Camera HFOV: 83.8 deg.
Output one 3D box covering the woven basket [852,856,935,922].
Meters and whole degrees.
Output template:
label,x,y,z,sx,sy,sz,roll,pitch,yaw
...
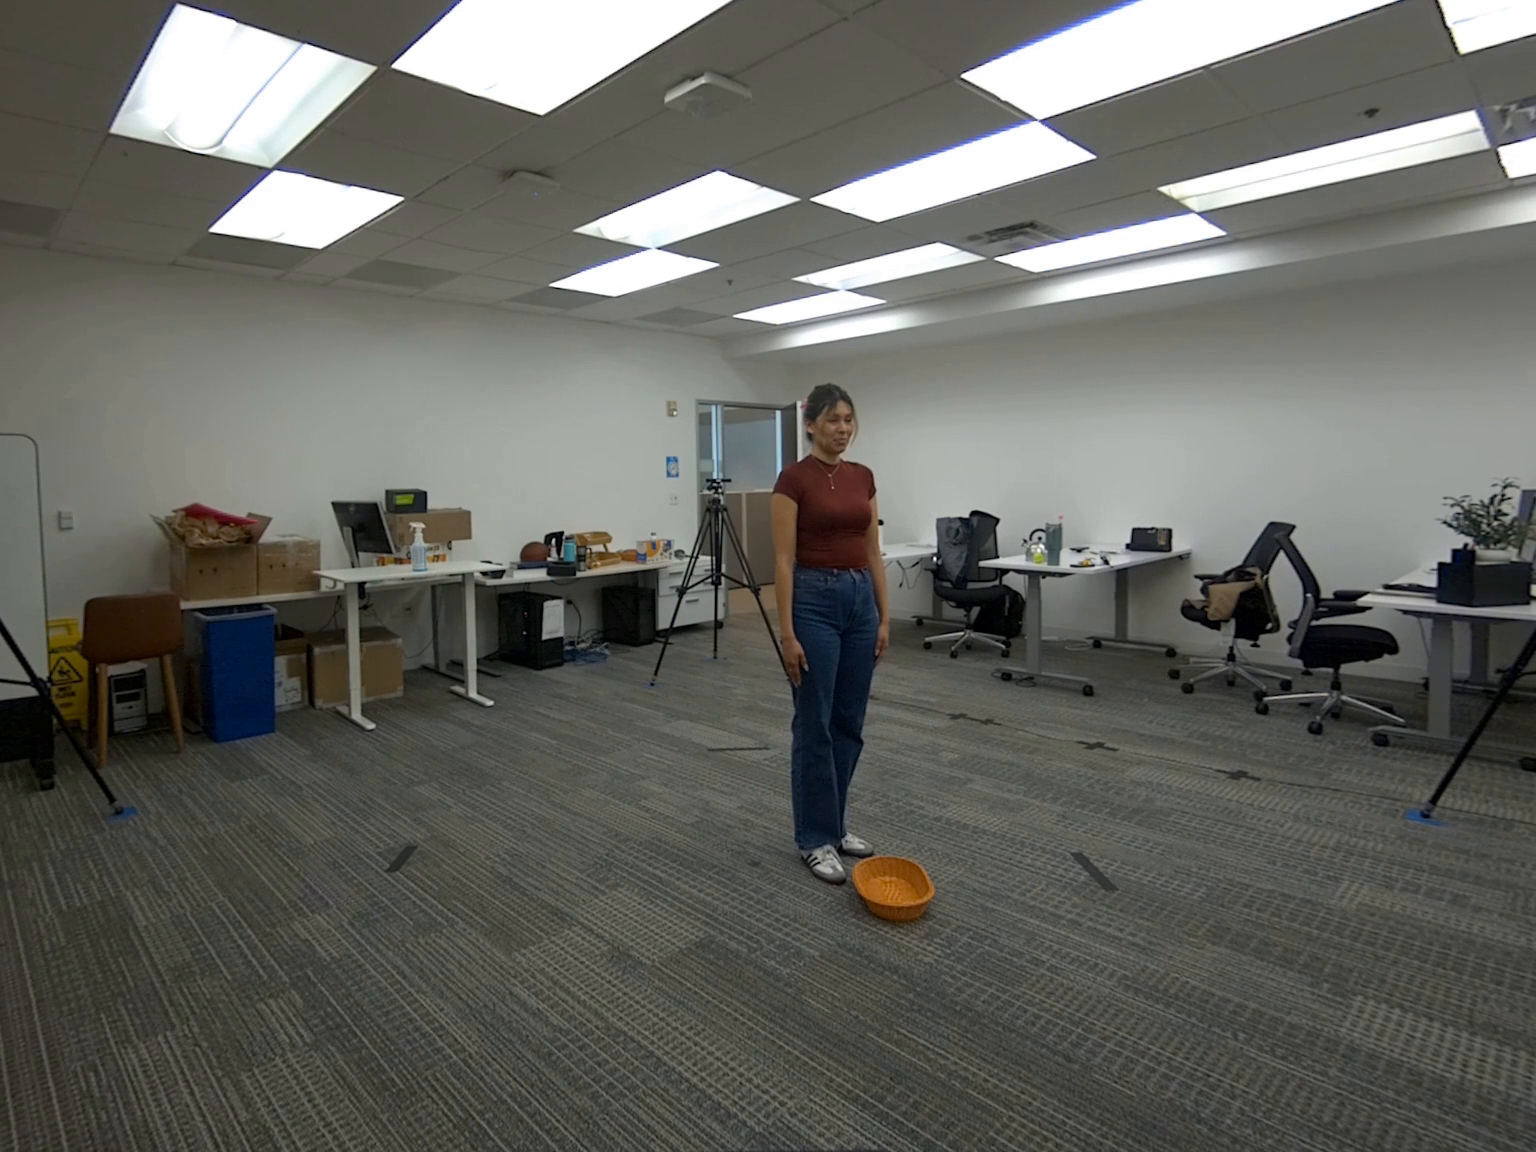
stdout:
label,x,y,z,sx,sy,sz,roll,pitch,yaw
woven basket,0.410,1.031,2.815,0.253,0.073,0.352,-3,7,0
